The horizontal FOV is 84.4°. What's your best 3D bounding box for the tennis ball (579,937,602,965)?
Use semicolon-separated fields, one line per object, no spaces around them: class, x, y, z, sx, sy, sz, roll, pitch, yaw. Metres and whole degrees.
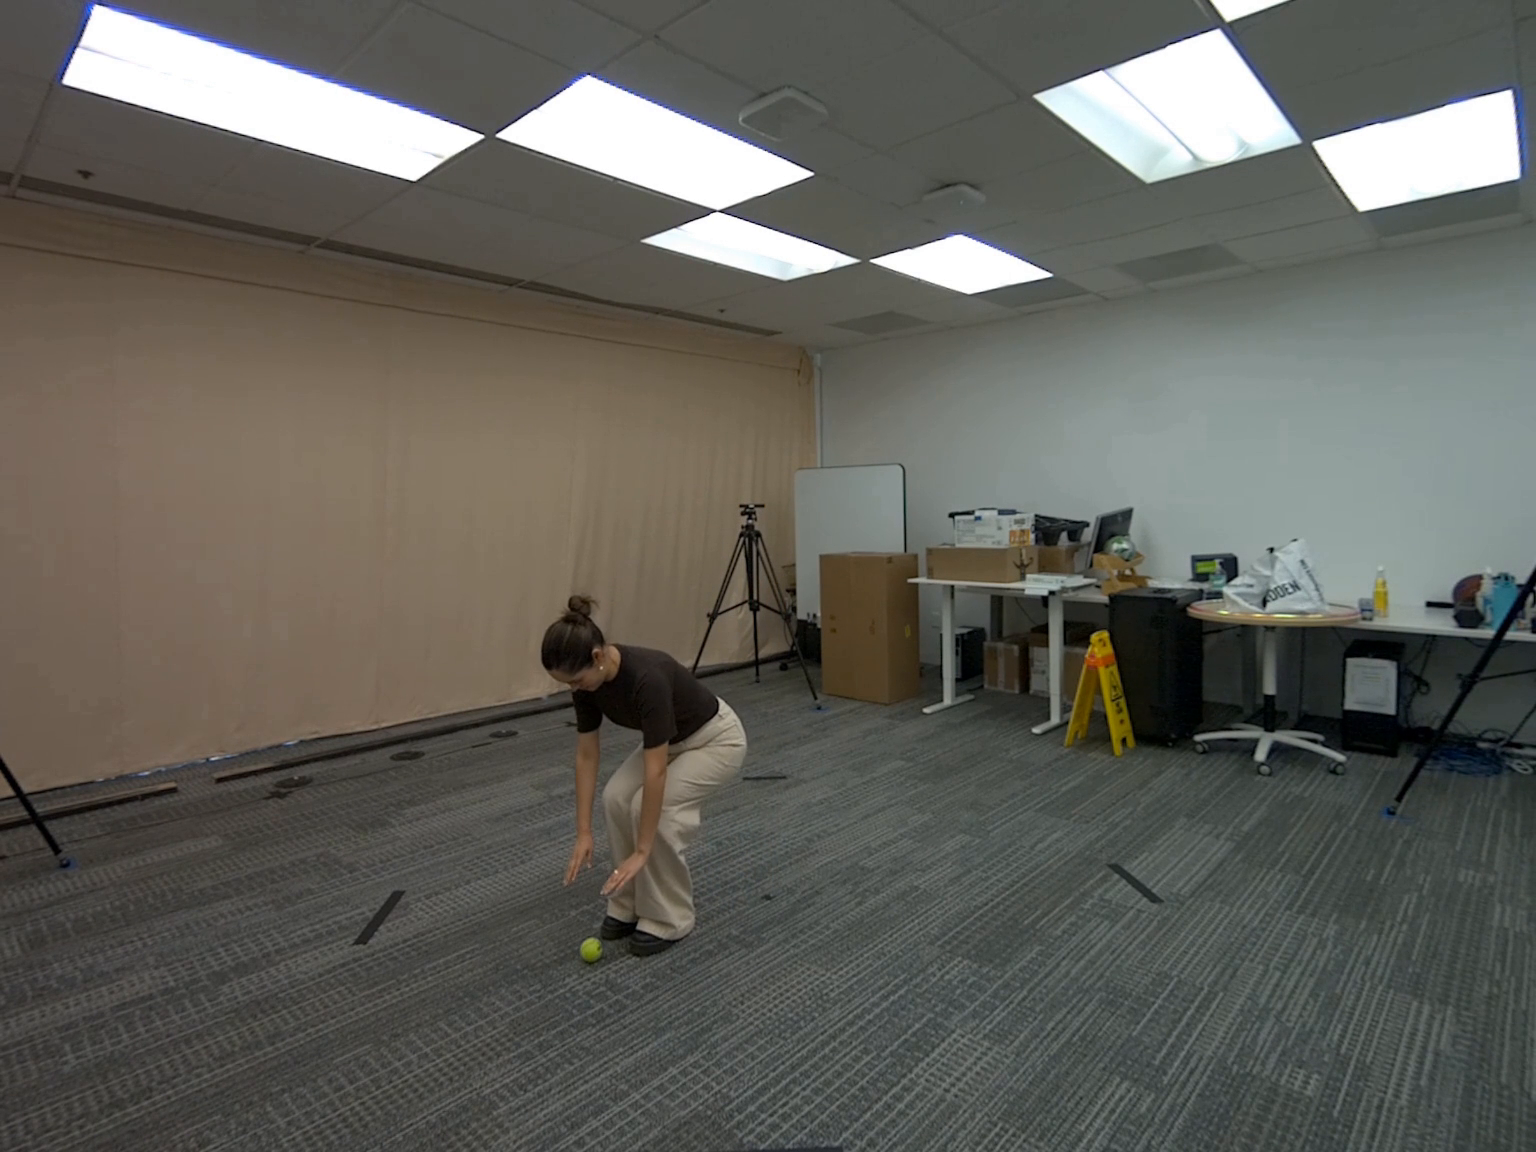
tennis ball;-0.532;1.138;2.588;0.066;0.066;0.067;-1;4;-2
